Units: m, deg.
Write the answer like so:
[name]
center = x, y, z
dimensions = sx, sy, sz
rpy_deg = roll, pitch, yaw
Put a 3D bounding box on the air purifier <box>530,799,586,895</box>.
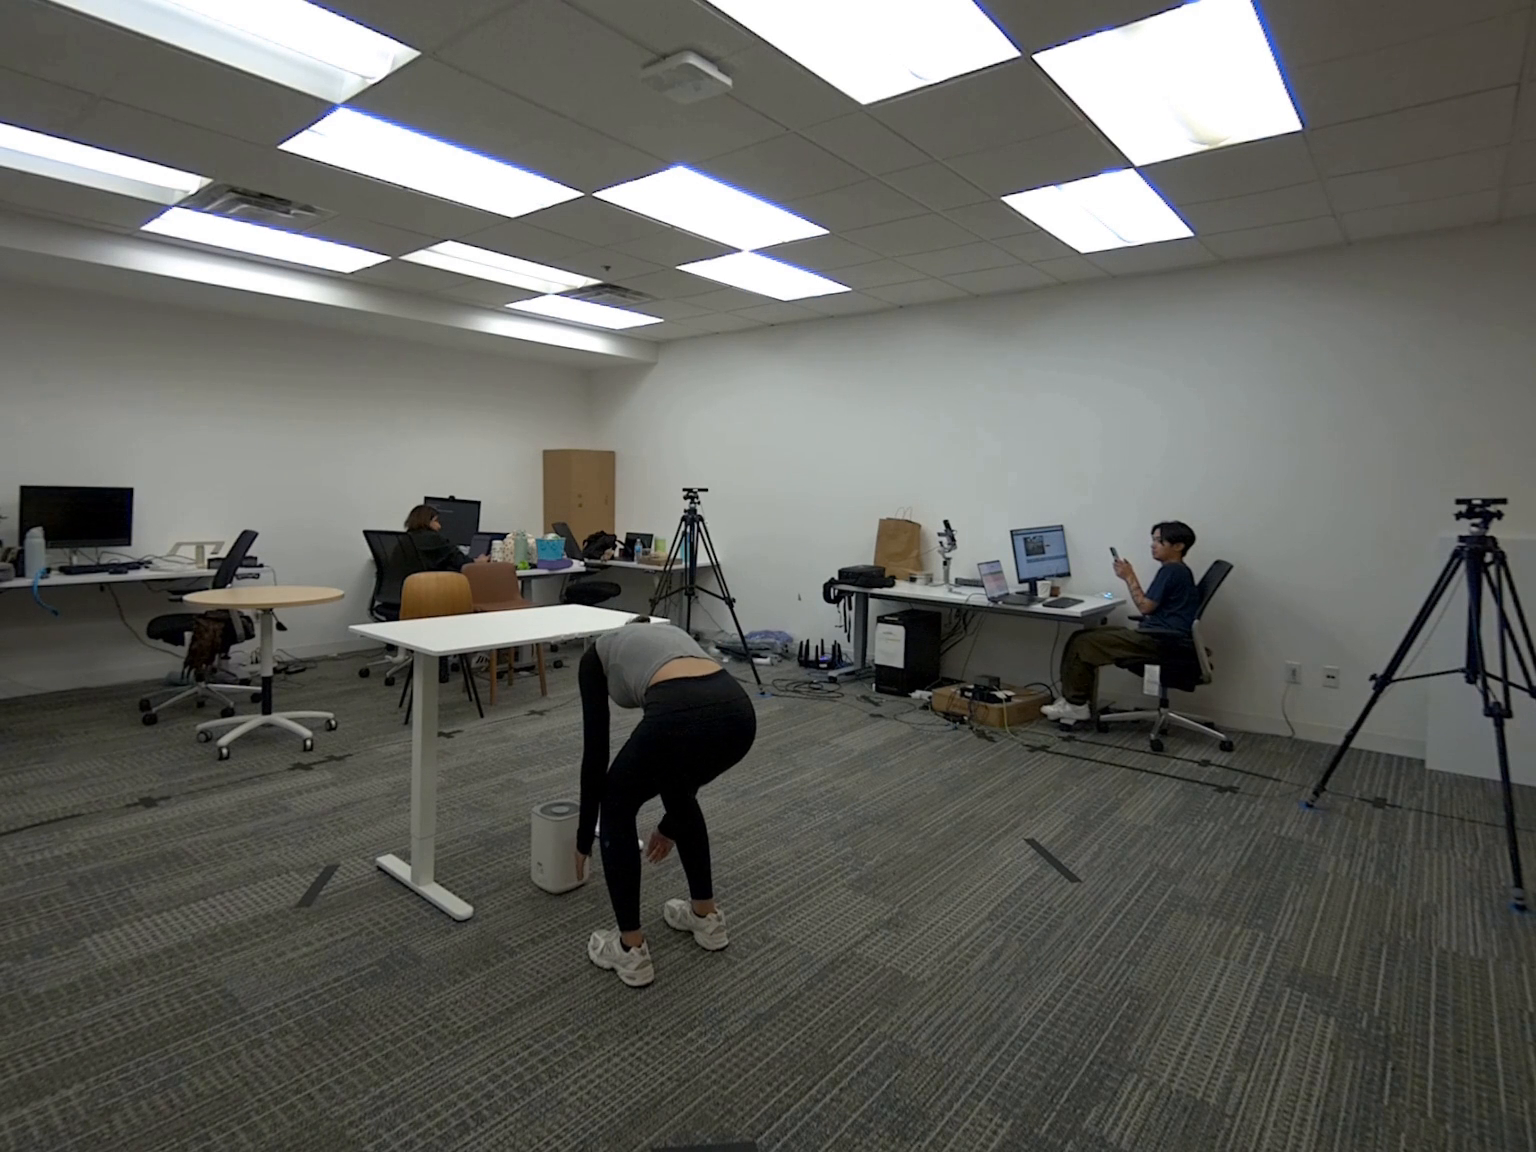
[air purifier]
center = -0.733, 0.939, 2.961
dimensions = 0.177, 0.265, 0.166
rpy_deg = 3, 4, 38
